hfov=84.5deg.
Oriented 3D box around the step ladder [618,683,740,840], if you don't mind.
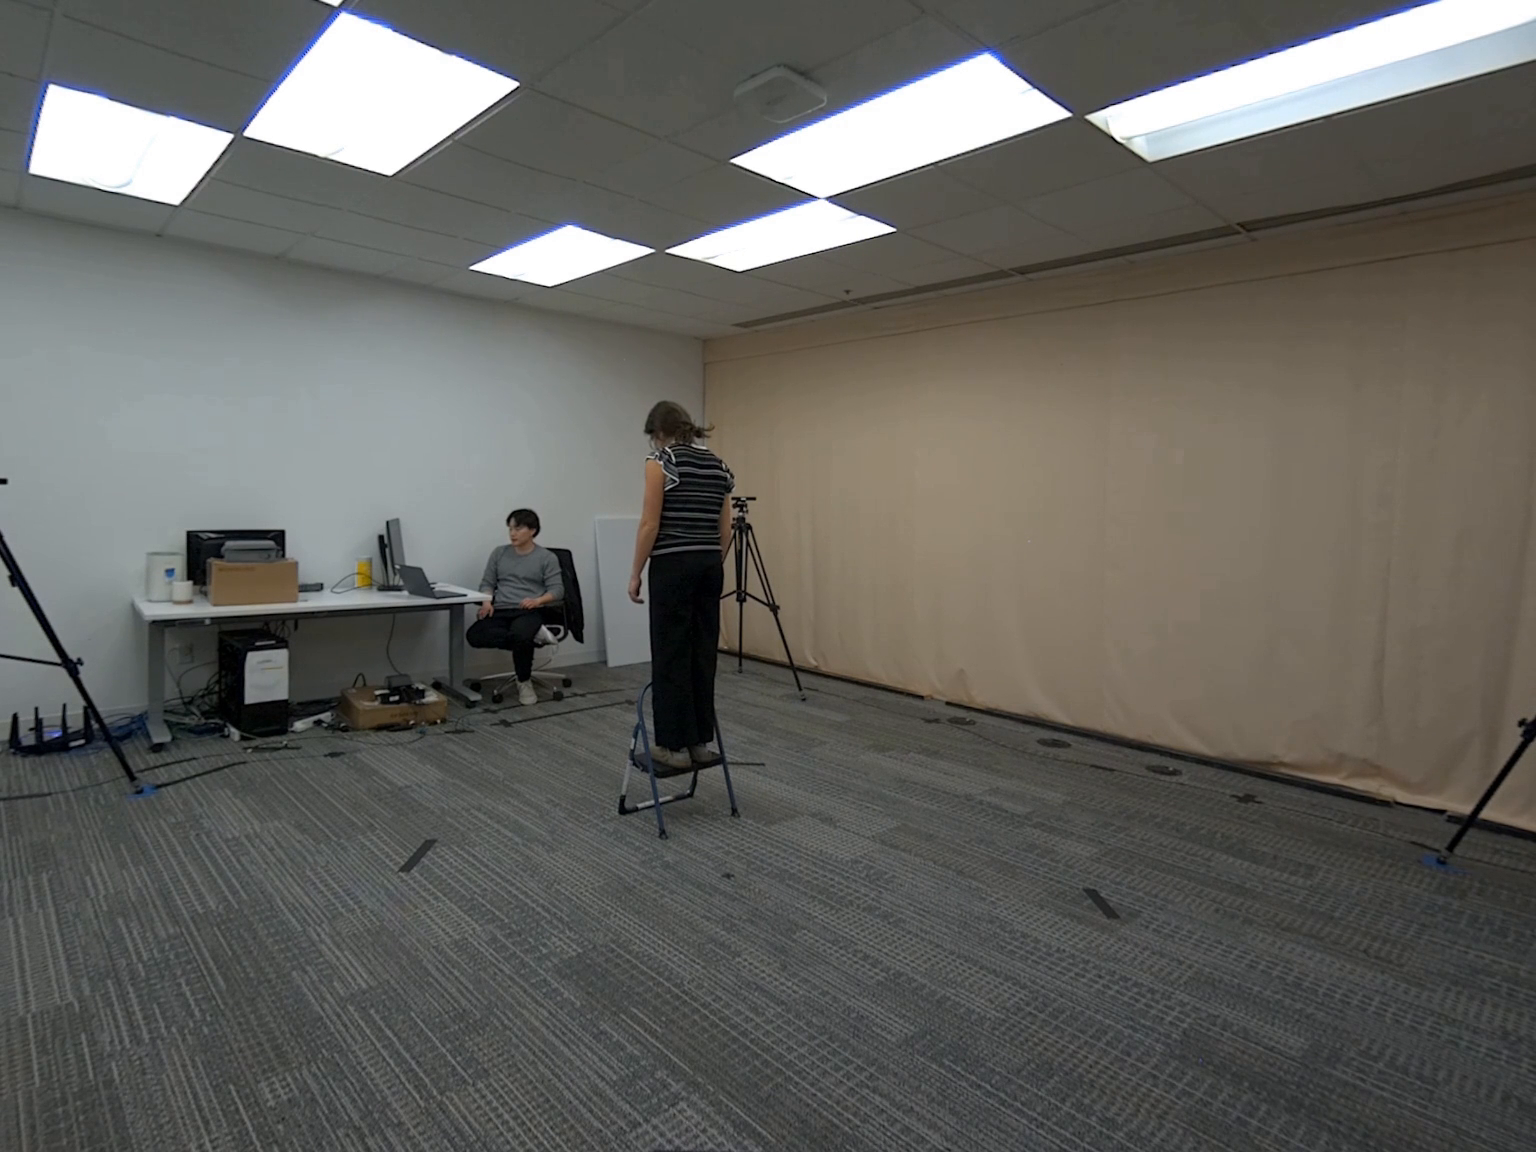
[{"bbox_3d":[-0.391,0.749,3.679,0.421,0.605,0.358,-1,4,-43],"label":"step ladder"}]
